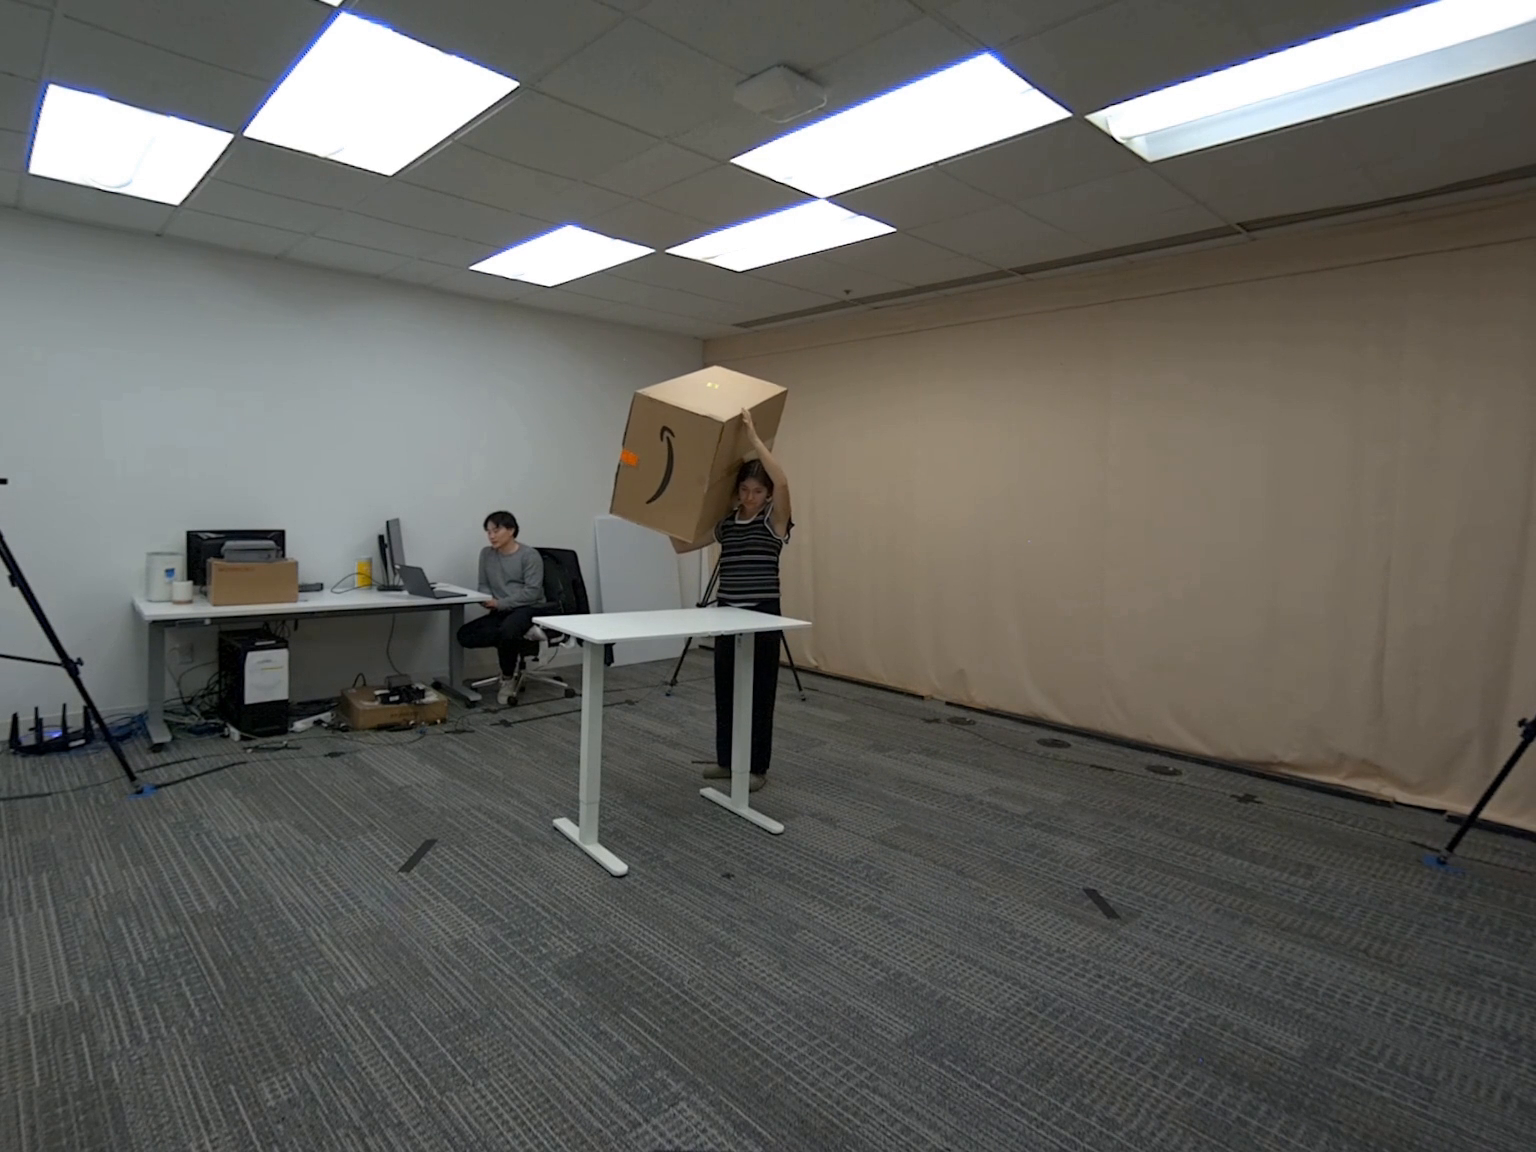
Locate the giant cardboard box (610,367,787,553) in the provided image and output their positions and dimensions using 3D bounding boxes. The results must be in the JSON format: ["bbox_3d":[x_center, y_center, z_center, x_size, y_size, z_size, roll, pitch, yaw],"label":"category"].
[{"bbox_3d":[-0.319,-0.633,4.117,0.431,0.571,1.025,21,24,10],"label":"giant cardboard box"}]
